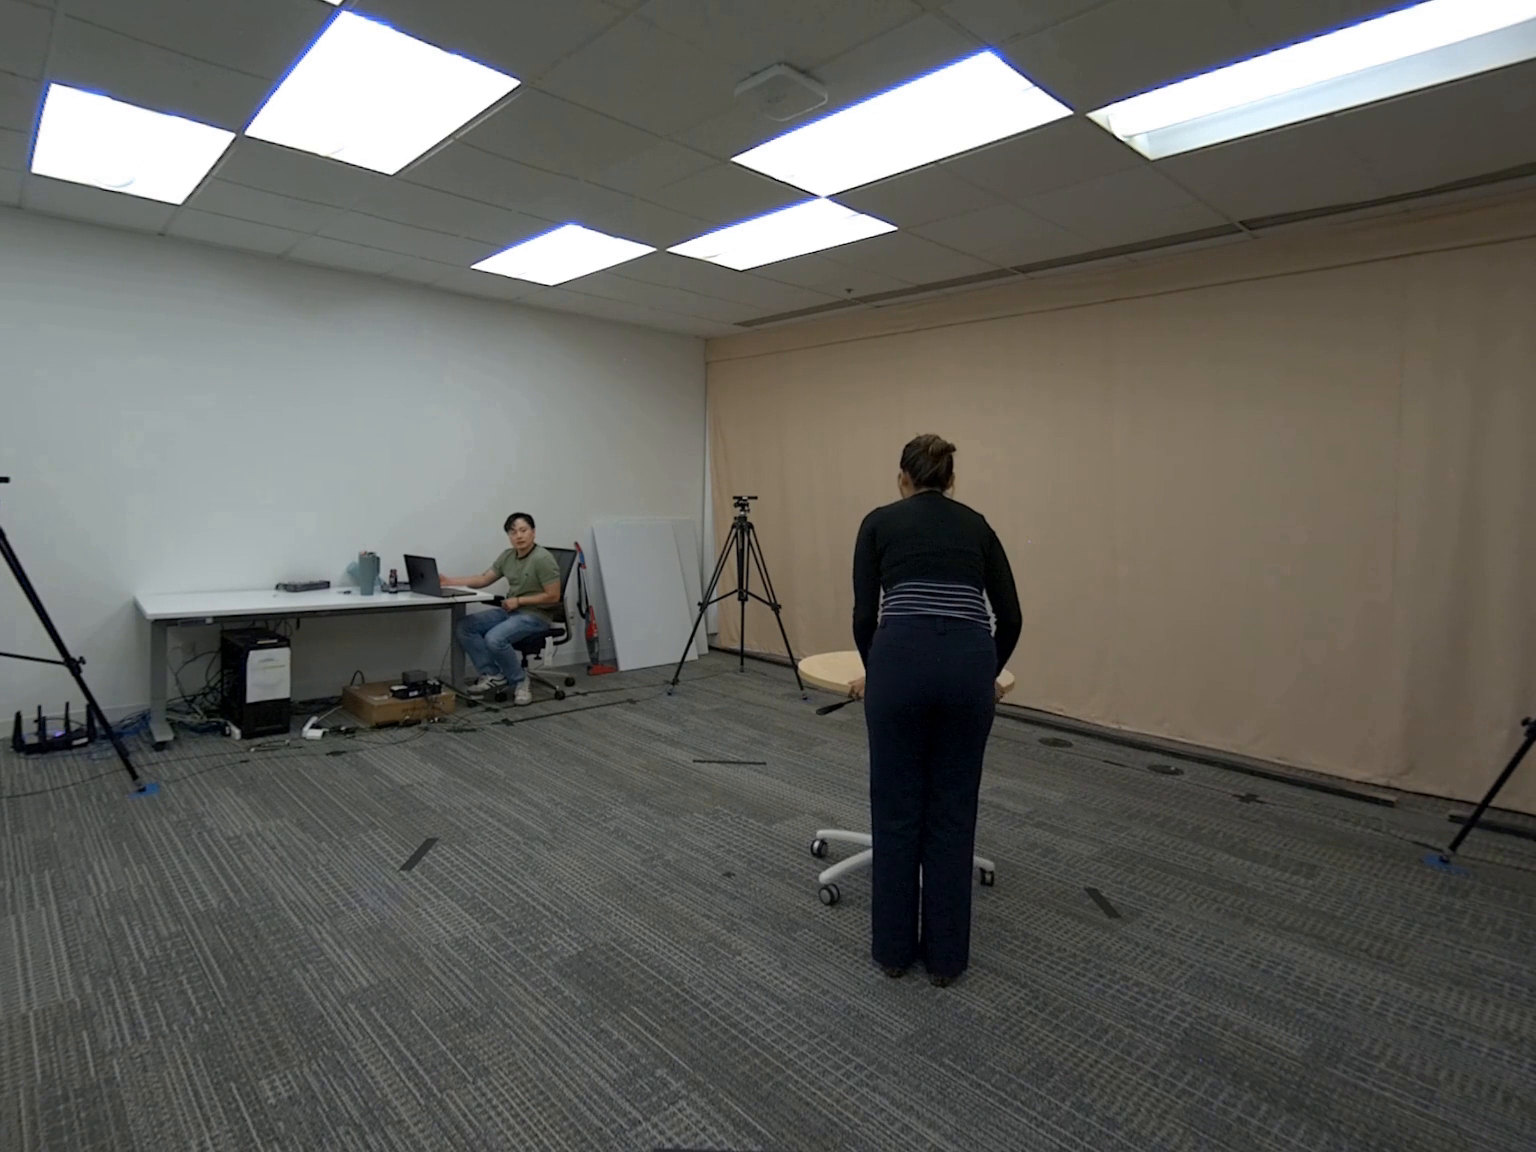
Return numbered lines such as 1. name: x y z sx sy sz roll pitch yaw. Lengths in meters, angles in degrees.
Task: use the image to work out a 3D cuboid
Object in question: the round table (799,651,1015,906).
1. round table: 0.479 0.735 3.069 0.763 0.792 0.766 2 4 -1
